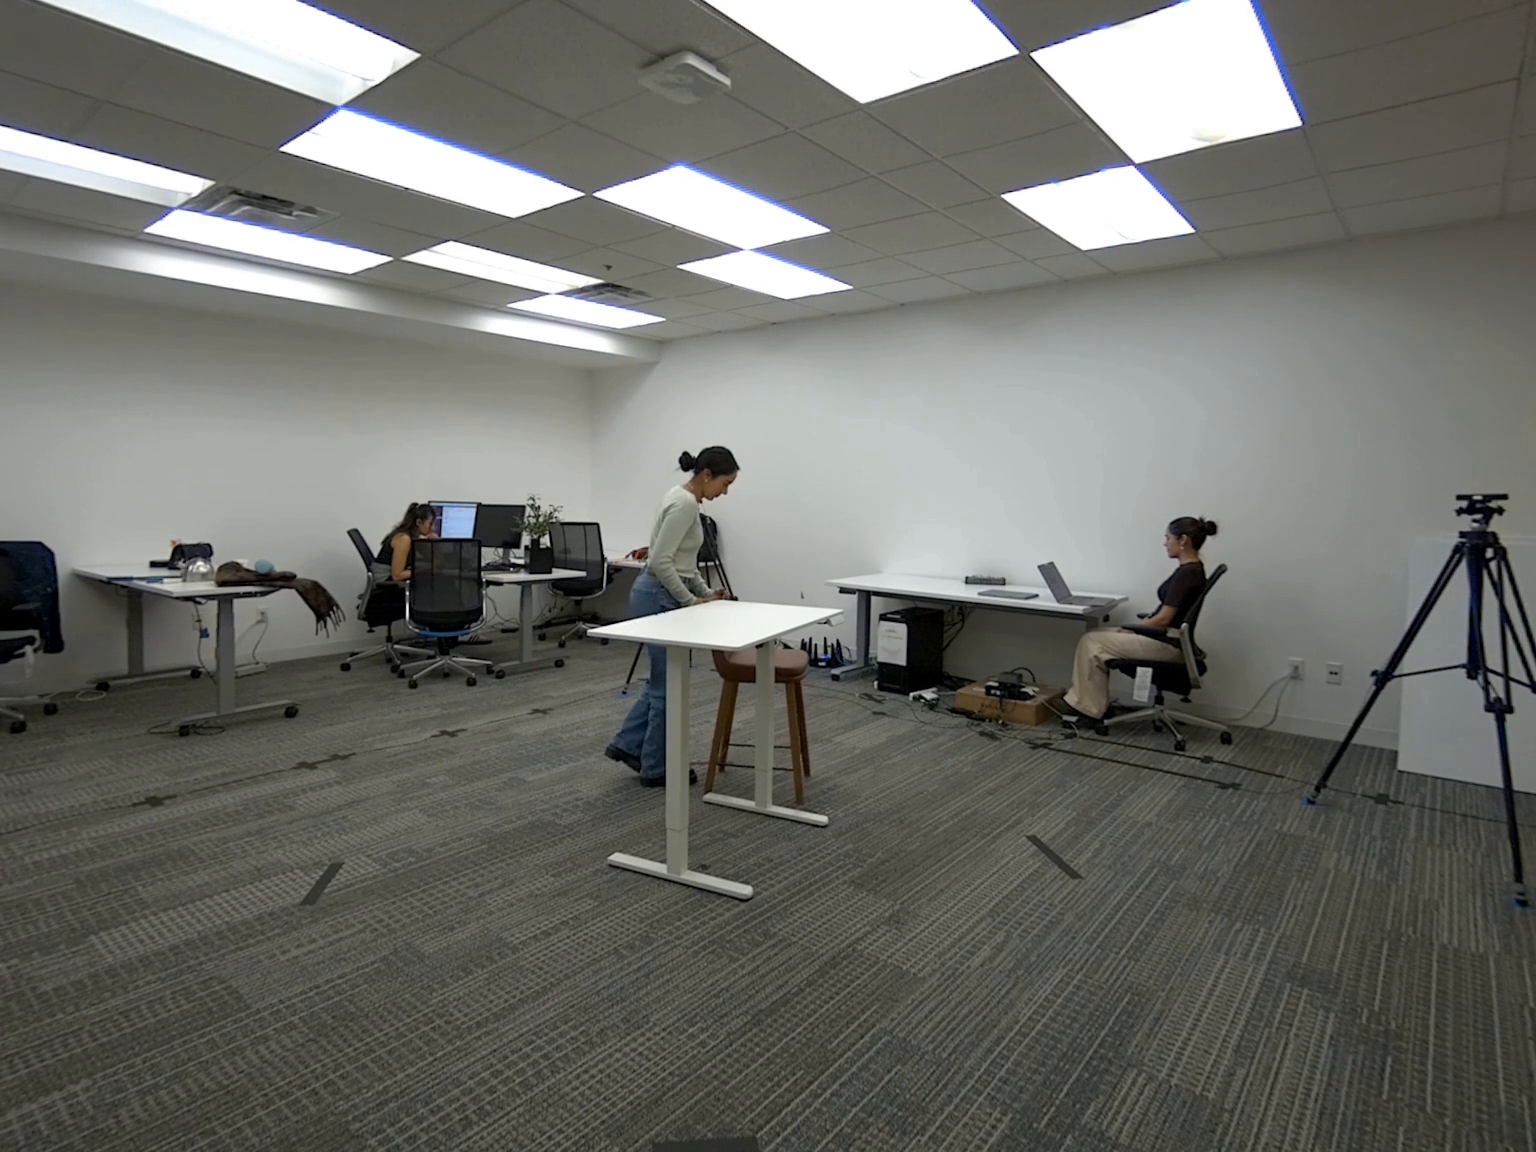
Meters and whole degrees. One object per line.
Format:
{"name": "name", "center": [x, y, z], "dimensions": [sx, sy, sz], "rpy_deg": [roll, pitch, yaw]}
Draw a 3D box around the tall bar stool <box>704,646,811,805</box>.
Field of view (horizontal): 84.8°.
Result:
{"name": "tall bar stool", "center": [-0.056, 0.545, 3.979], "dimensions": [0.472, 0.888, 0.453], "rpy_deg": [-2, 2, 9]}
